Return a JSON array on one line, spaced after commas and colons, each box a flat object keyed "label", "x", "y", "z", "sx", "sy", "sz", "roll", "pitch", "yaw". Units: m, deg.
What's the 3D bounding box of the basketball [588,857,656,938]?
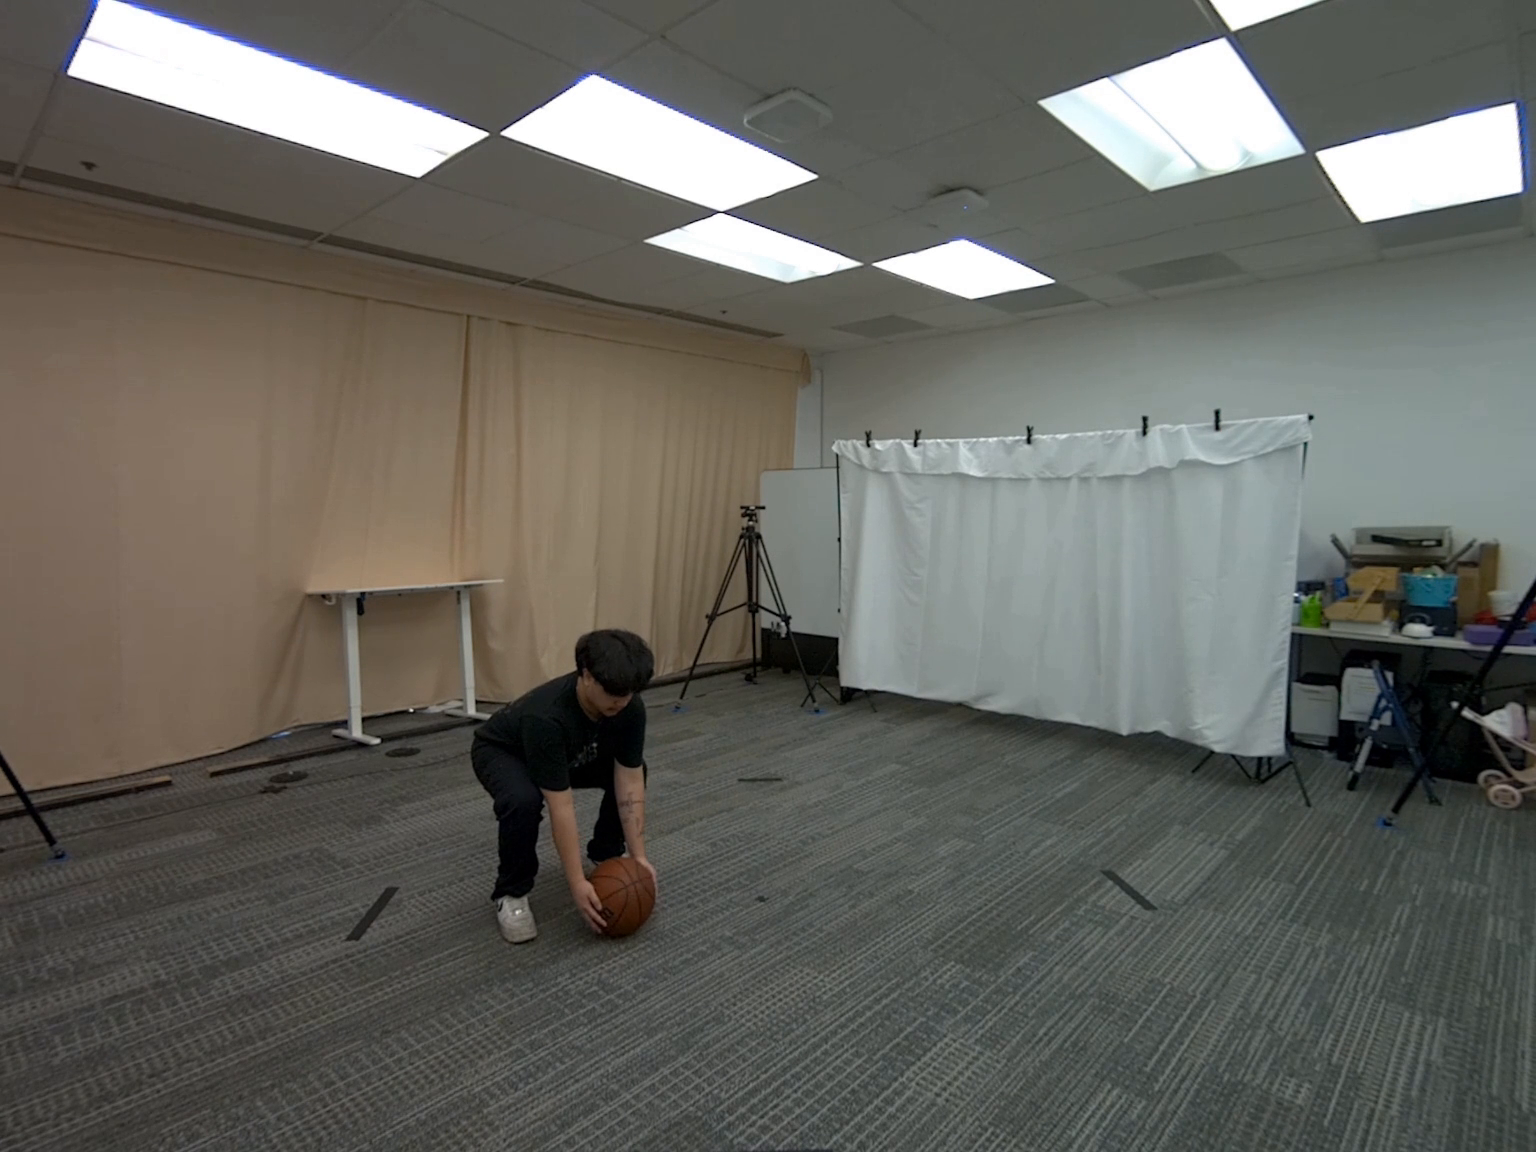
[{"label": "basketball", "x": -0.483, "y": 1.042, "z": 2.746, "sx": 0.236, "sy": 0.235, "sz": 0.237, "roll": 0, "pitch": 4, "yaw": -2}]
